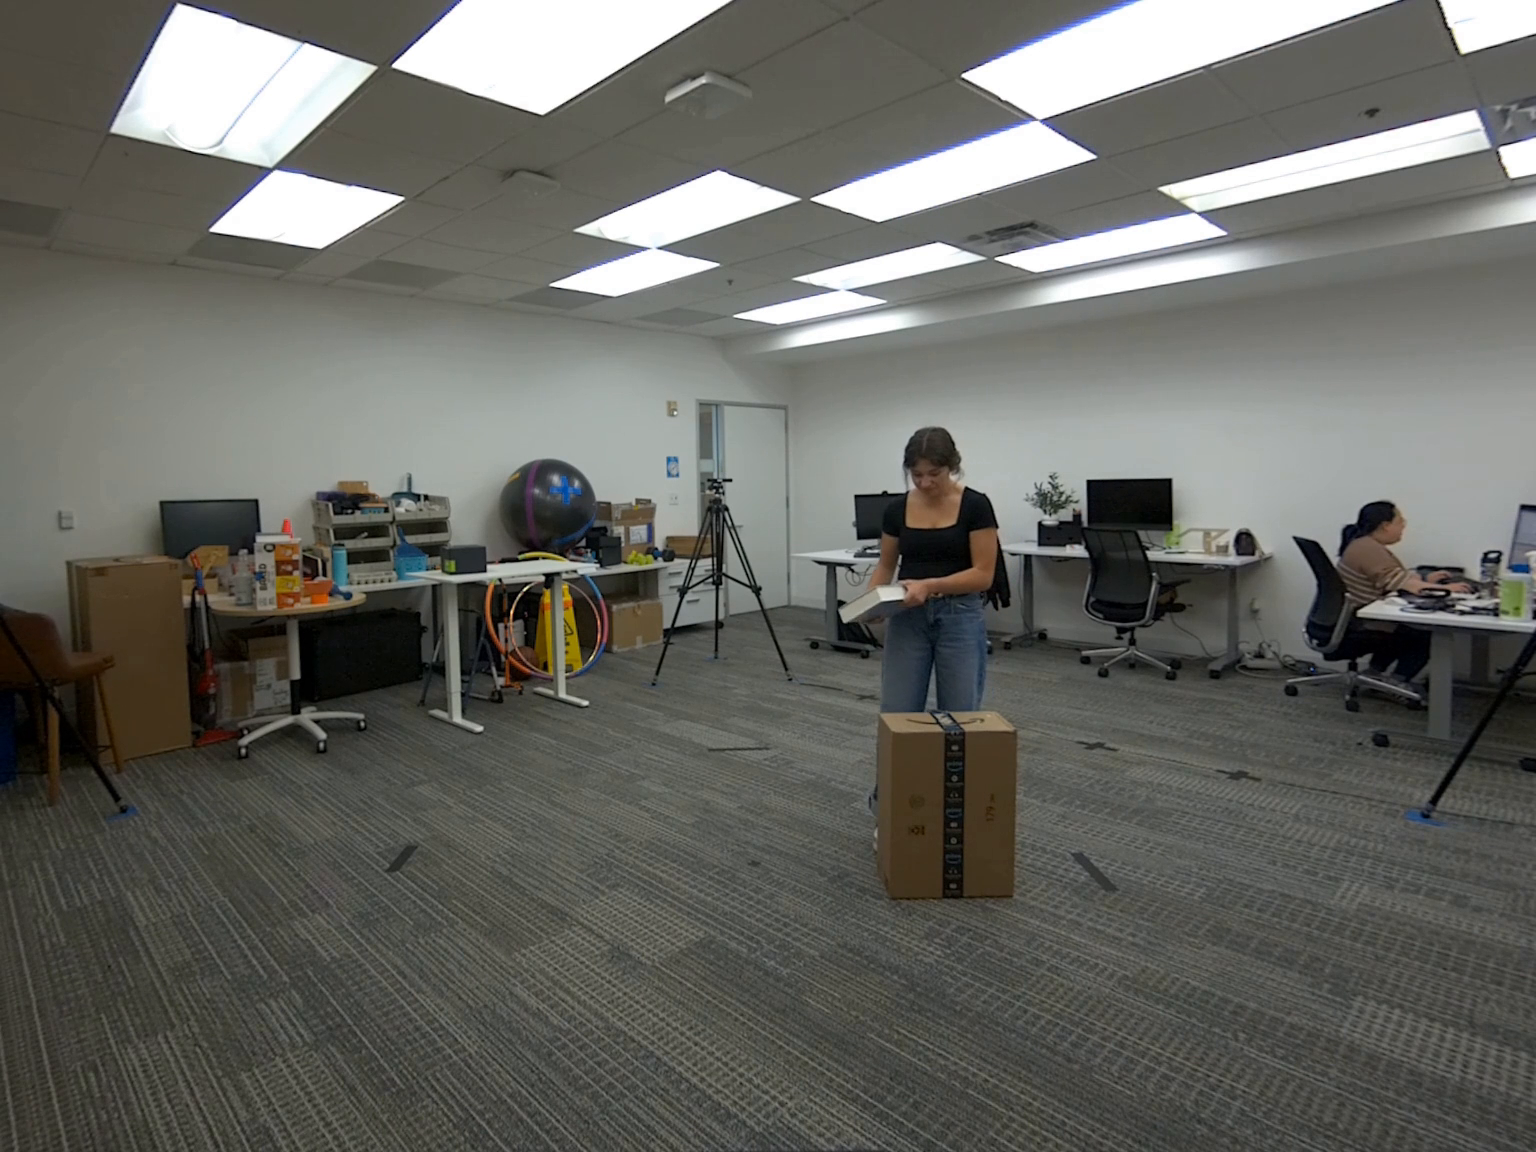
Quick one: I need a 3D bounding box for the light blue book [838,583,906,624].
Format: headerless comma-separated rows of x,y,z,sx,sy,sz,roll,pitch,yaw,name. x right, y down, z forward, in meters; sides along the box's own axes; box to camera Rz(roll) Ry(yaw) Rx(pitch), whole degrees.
0.404,0.100,3.057,0.253,0.060,0.193,-1,-26,-47,light blue book
